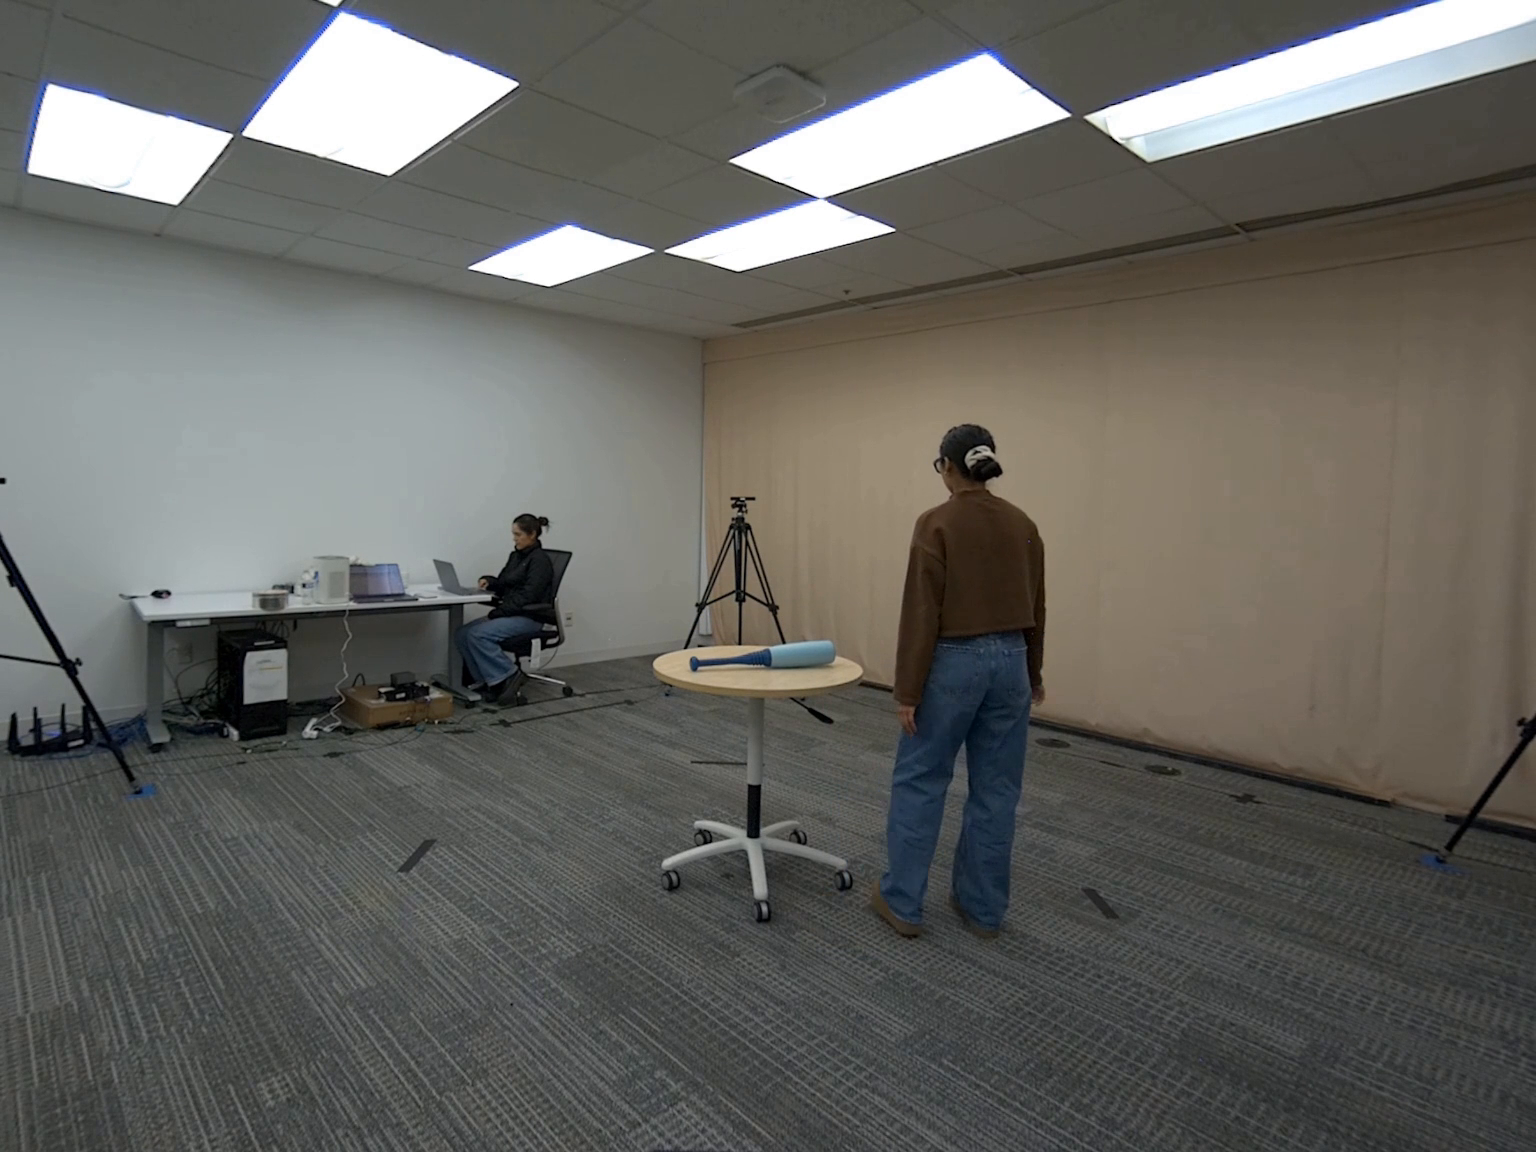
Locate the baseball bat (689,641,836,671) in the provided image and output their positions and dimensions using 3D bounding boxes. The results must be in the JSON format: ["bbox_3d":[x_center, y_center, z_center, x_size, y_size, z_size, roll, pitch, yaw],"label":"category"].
[{"bbox_3d":[-0.016,0.299,3.028,0.536,0.089,0.090,-4,6,-18],"label":"baseball bat"}]
